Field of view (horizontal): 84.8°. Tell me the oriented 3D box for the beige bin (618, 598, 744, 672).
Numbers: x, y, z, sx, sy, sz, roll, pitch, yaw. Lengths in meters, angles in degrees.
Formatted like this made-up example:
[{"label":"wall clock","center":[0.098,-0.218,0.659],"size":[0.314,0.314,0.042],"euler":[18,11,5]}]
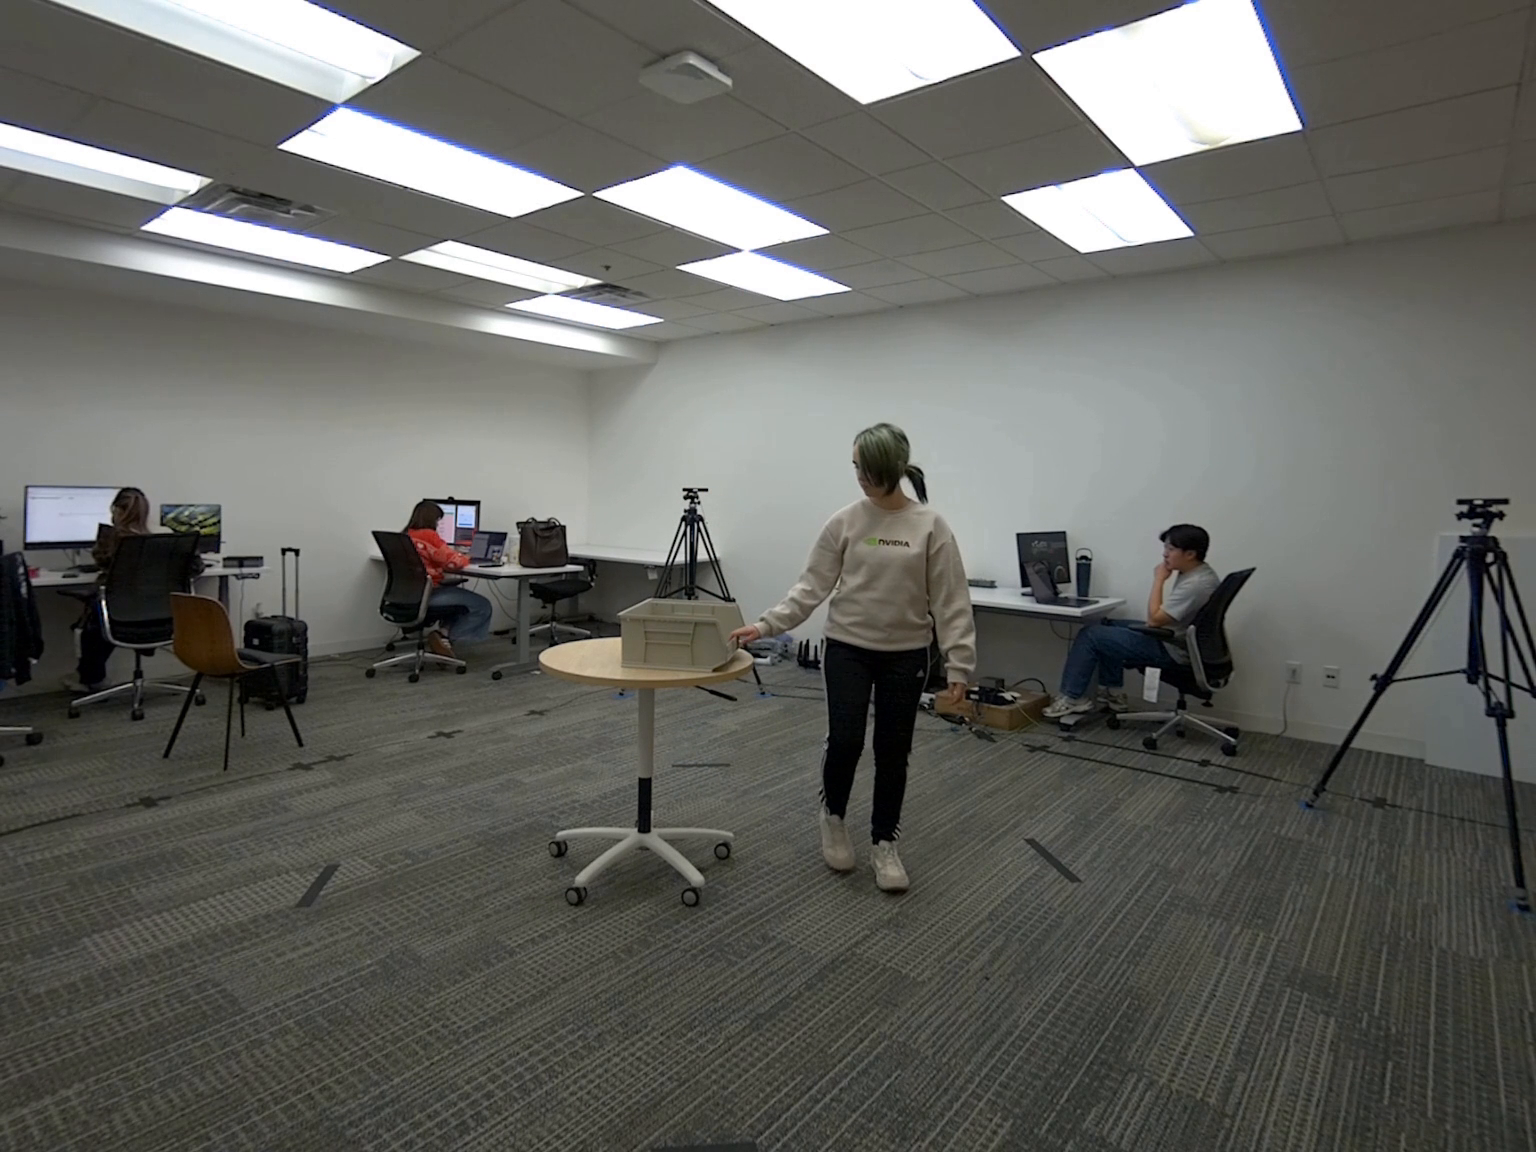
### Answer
[{"label":"beige bin","center":[-0.306,0.200,3.029],"size":[0.381,0.188,0.420],"euler":[0,5,9]}]
